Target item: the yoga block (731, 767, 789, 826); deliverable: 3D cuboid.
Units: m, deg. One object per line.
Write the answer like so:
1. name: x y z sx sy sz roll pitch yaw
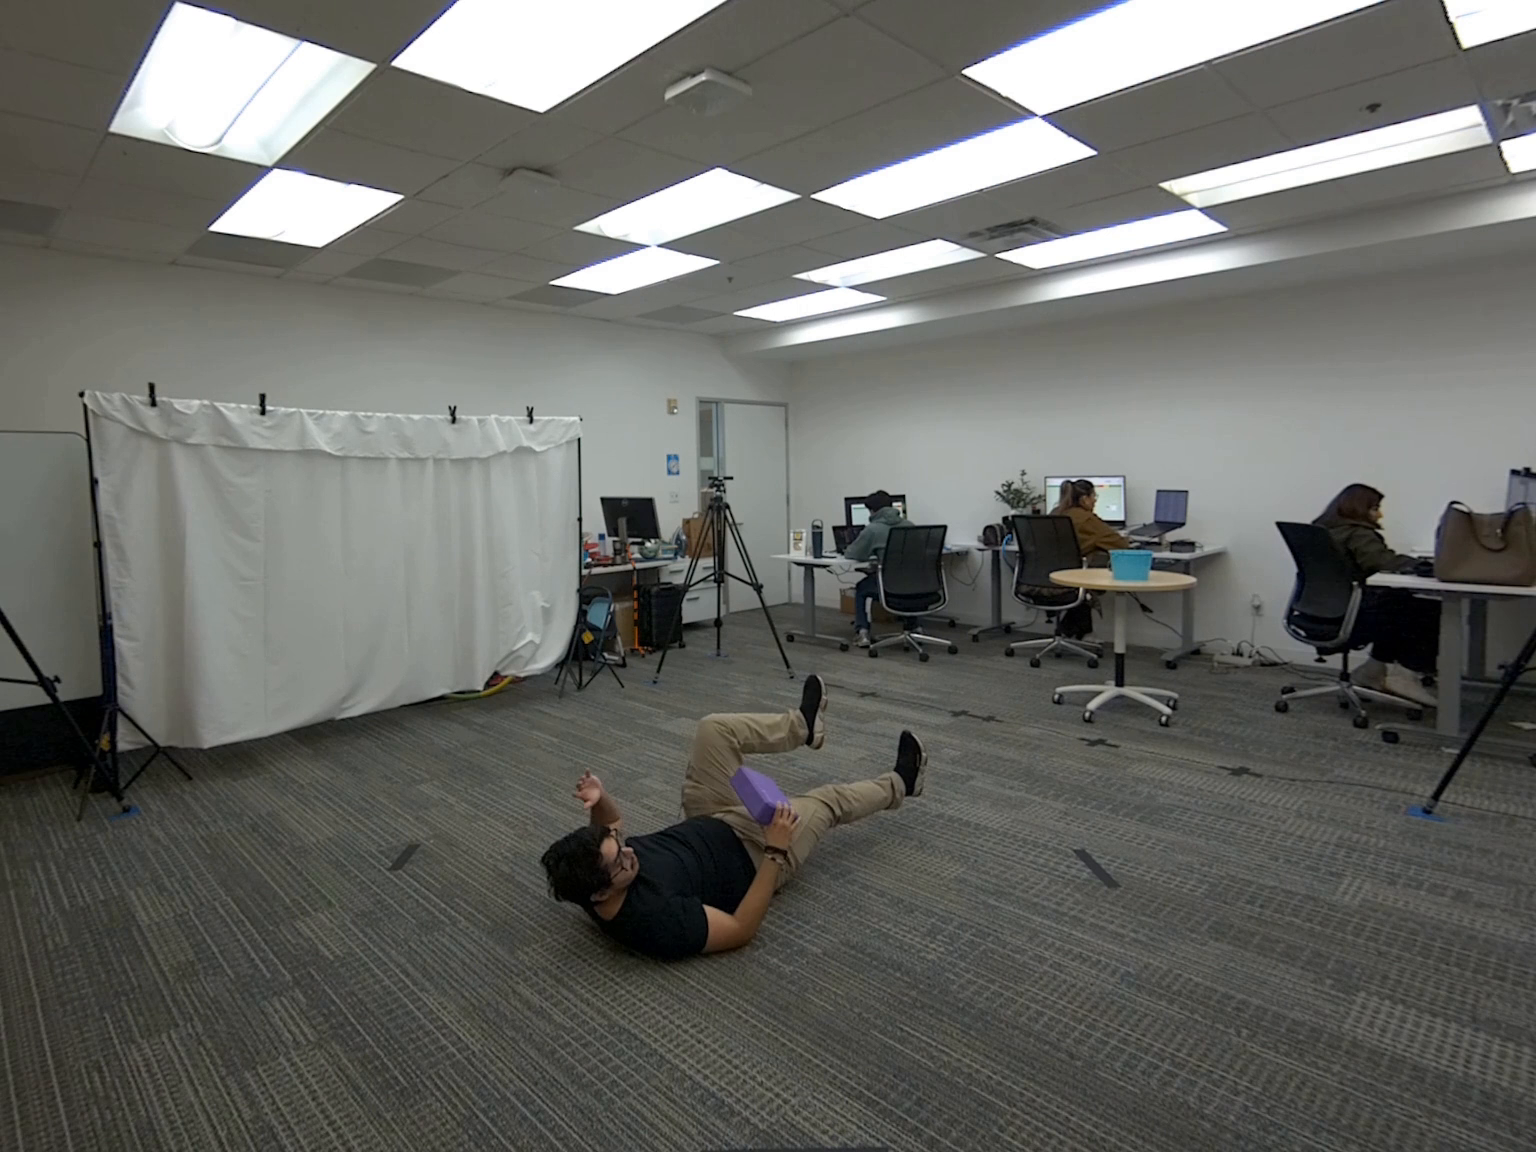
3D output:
1. yoga block: -0.020 0.730 2.778 0.144 0.076 0.237 31 4 -28
